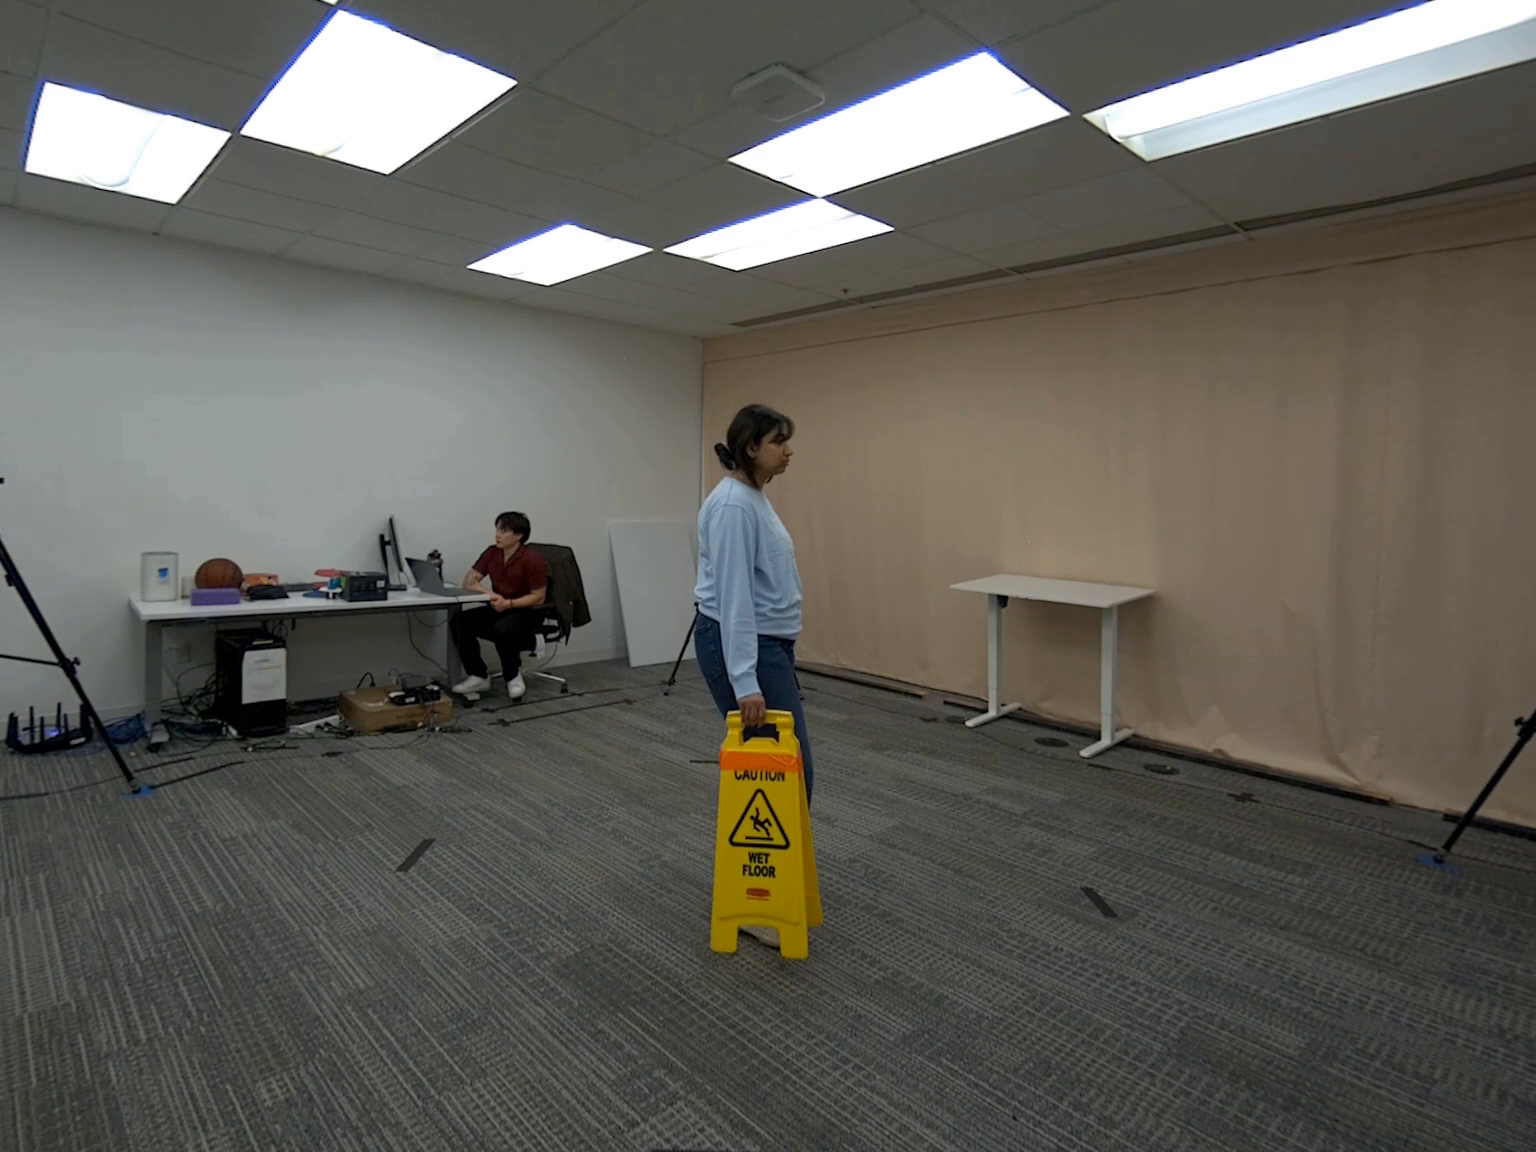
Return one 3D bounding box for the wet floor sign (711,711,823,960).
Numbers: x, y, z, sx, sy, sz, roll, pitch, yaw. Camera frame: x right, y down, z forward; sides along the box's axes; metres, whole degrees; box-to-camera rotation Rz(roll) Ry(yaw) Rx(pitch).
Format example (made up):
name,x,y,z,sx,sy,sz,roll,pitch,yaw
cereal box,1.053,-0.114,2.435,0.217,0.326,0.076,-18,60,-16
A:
name,x,y,z,sx,sy,sz,roll,pitch,yaw
wet floor sign,-0.016,0.731,2.443,0.285,0.647,0.286,-4,-2,15
